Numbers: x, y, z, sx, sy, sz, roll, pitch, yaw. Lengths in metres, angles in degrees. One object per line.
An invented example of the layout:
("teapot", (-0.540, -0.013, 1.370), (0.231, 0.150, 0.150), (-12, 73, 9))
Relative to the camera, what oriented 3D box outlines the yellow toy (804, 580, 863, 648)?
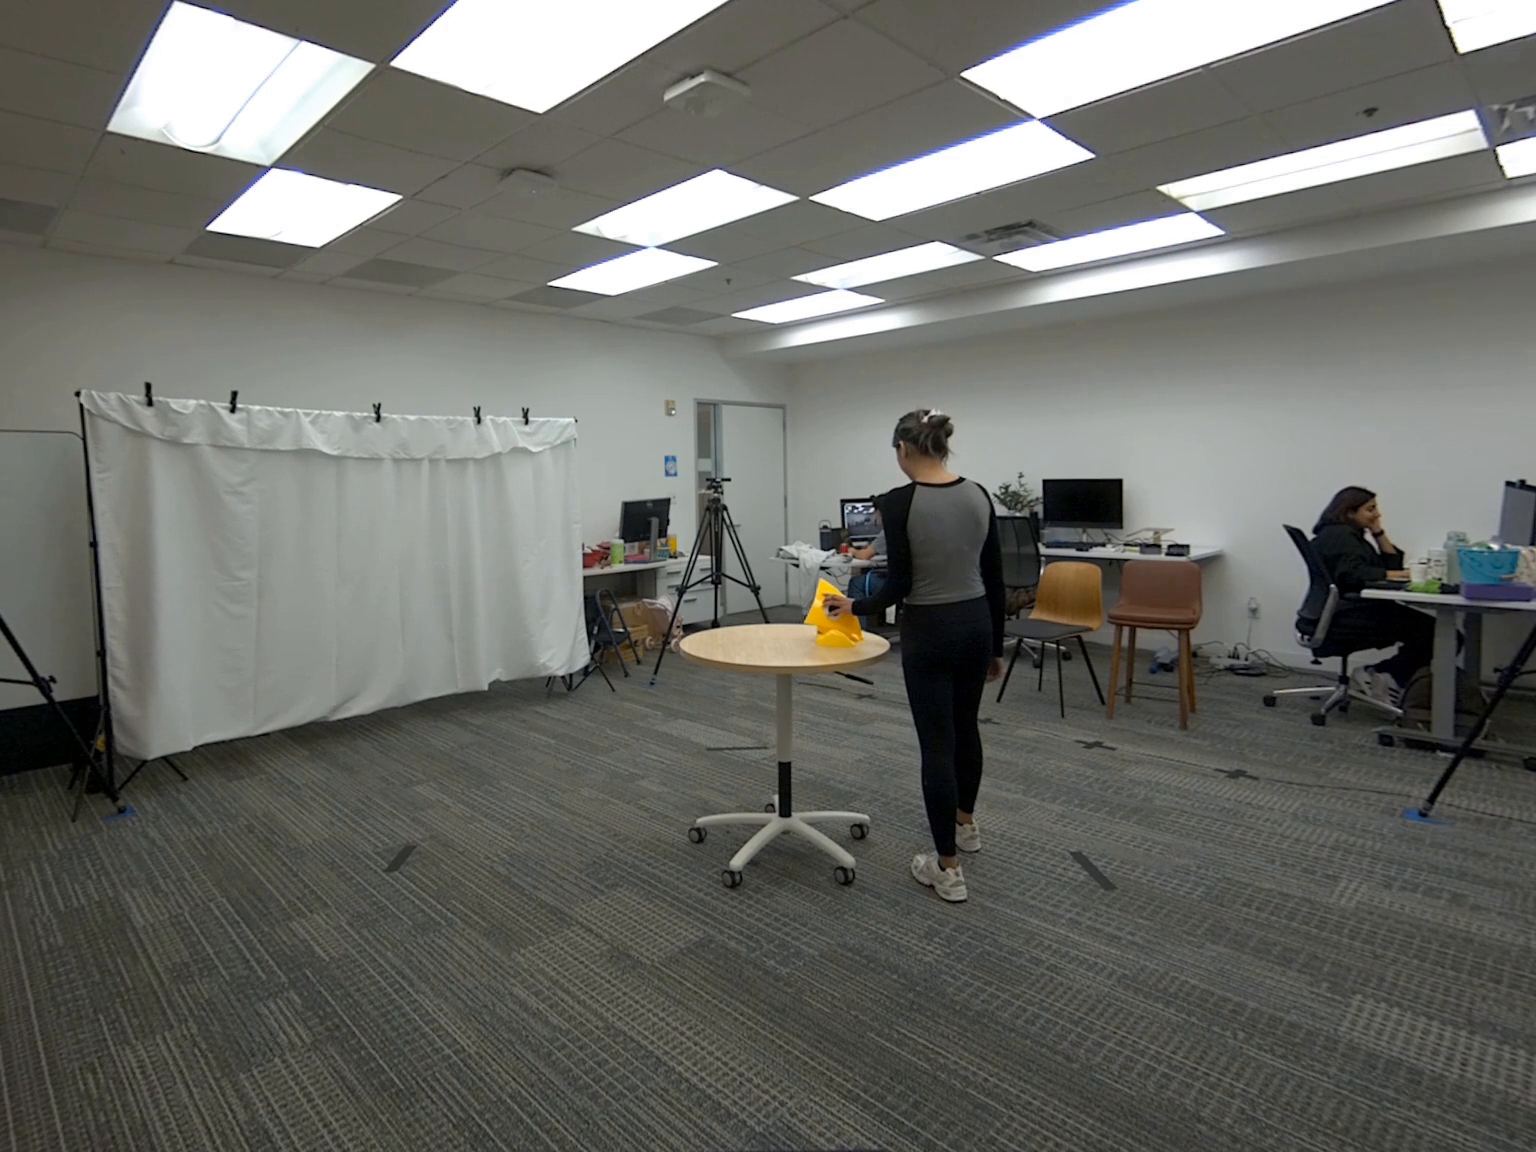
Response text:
("yellow toy", (0.255, 0.127, 3.145), (0.197, 0.230, 0.201), (1, 5, 23))
